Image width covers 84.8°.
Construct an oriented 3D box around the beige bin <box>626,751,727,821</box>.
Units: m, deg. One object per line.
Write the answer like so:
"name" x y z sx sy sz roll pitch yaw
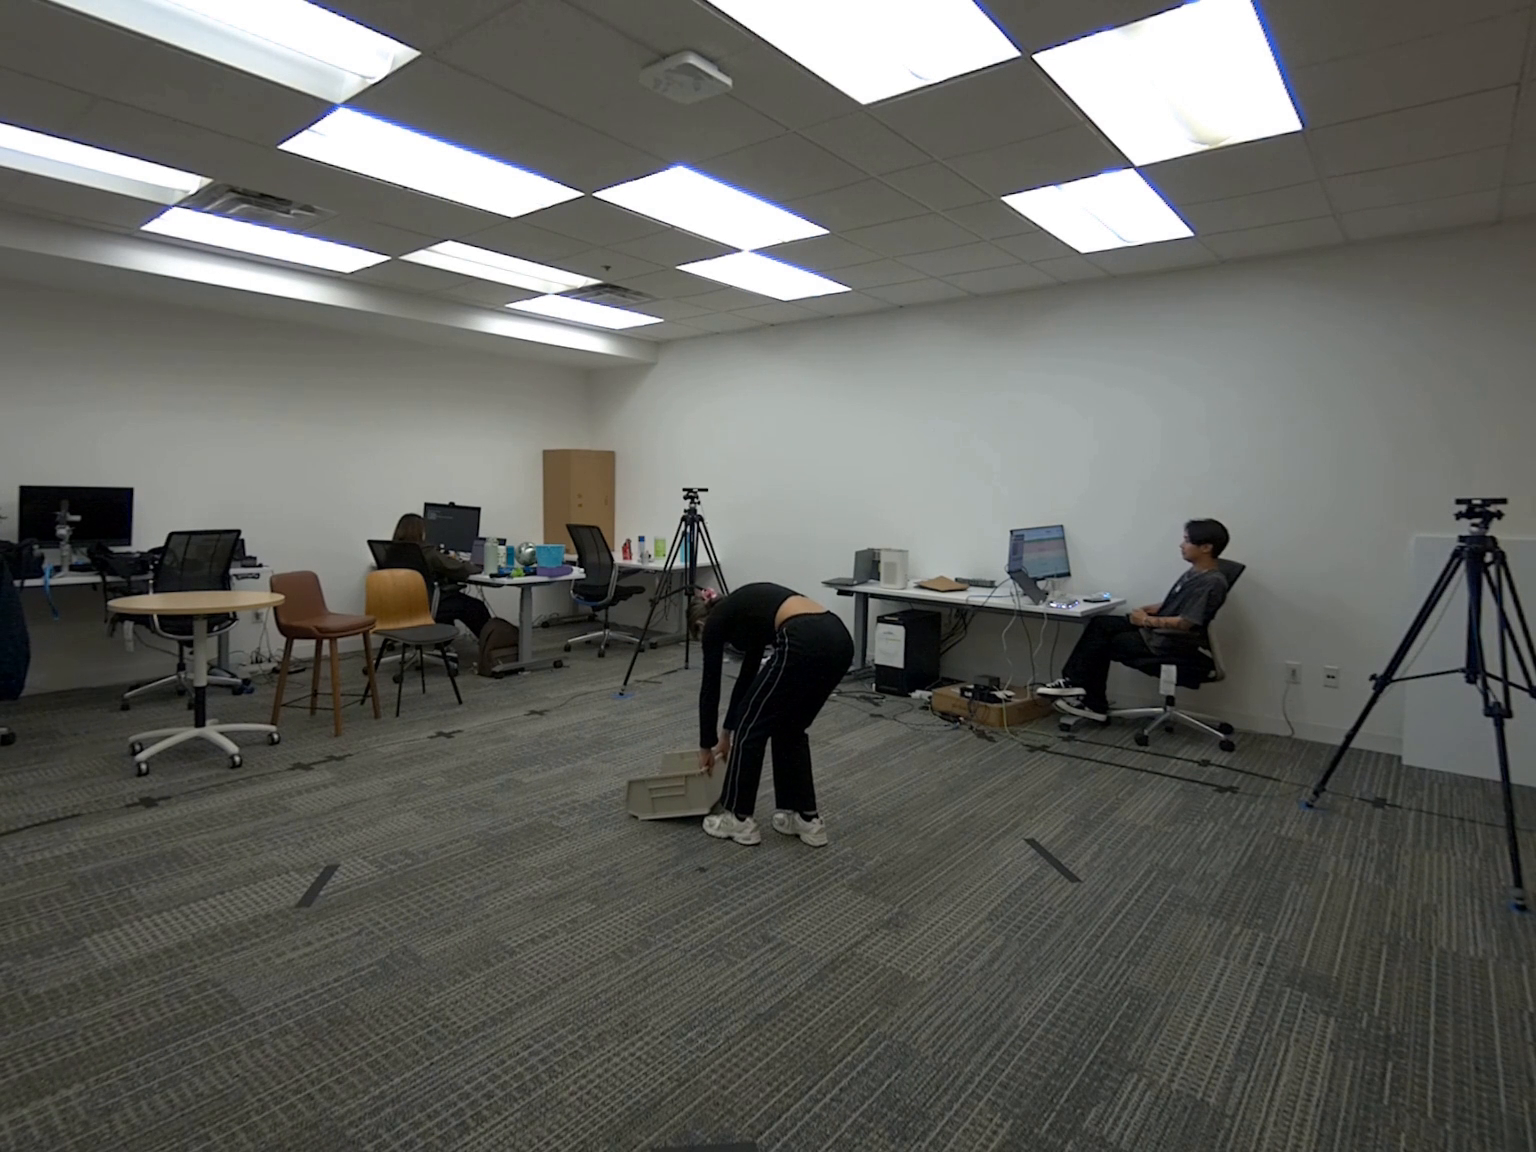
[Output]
"beige bin" -0.394 0.893 3.725 0.383 0.189 0.416 -7 1 16
